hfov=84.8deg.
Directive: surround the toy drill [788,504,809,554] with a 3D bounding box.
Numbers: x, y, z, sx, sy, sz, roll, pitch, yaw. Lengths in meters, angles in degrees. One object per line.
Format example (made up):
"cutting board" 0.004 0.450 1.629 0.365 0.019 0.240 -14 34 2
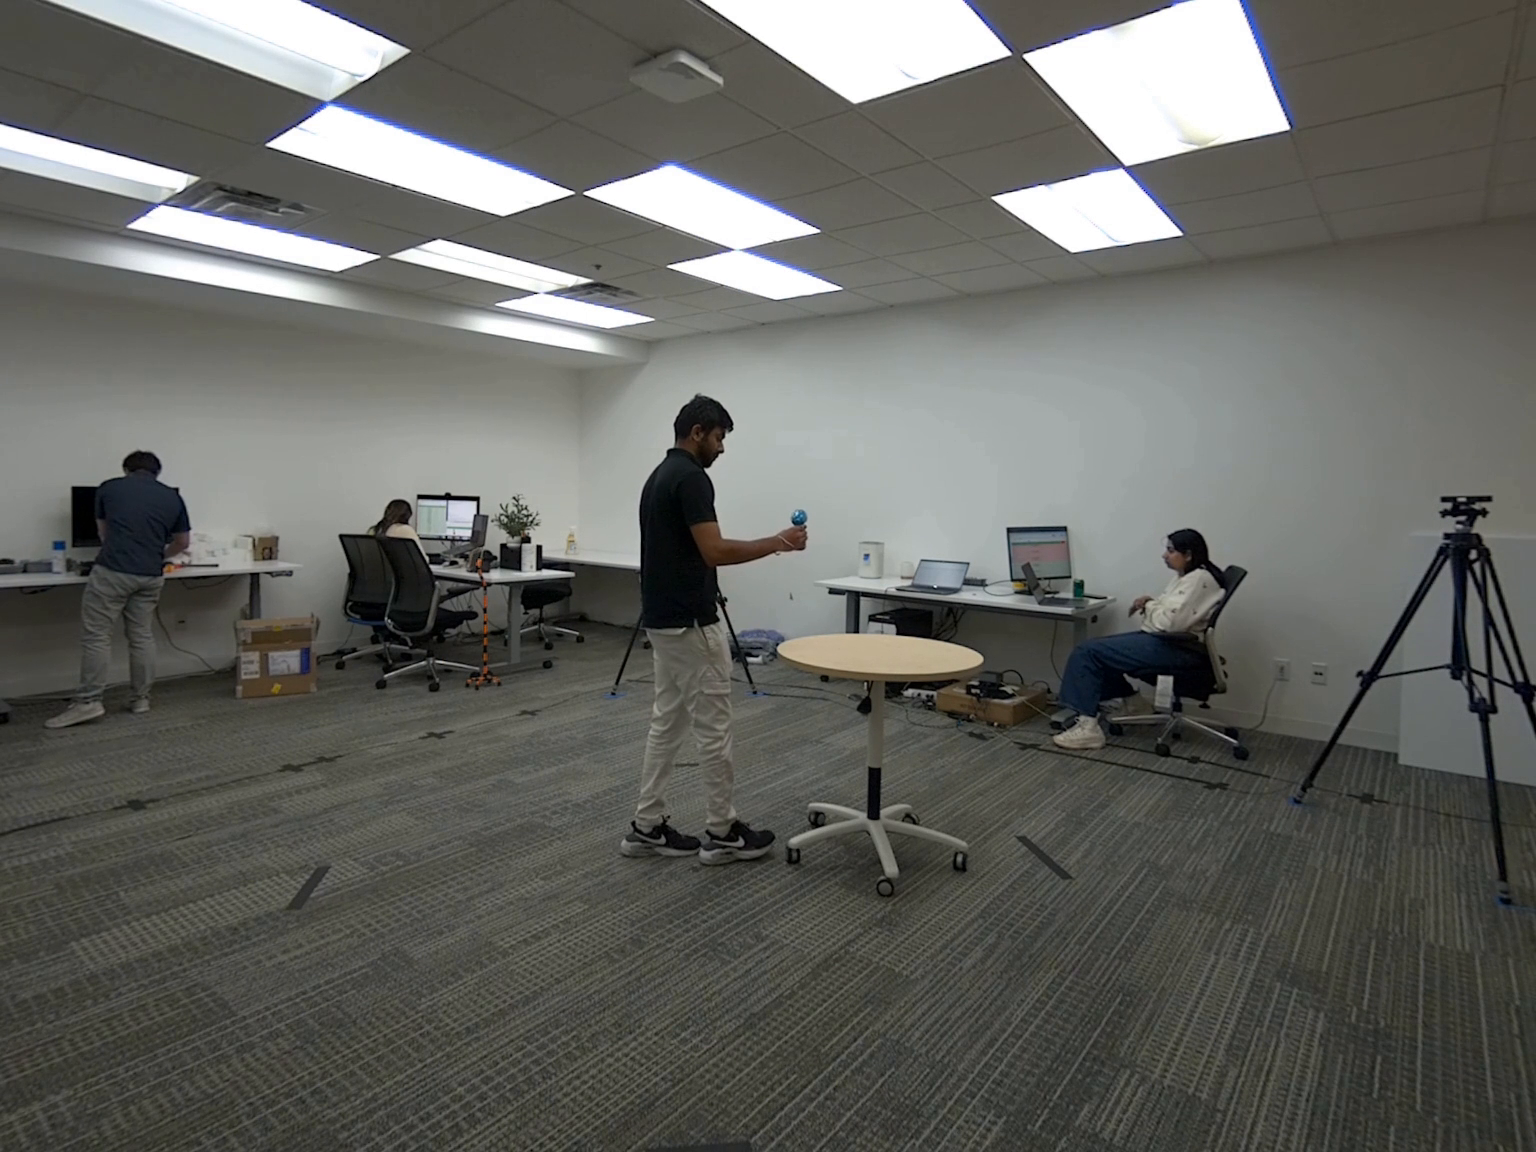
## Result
"toy drill" 0.115 -0.183 3.215 0.061 0.144 0.171 4 16 4
